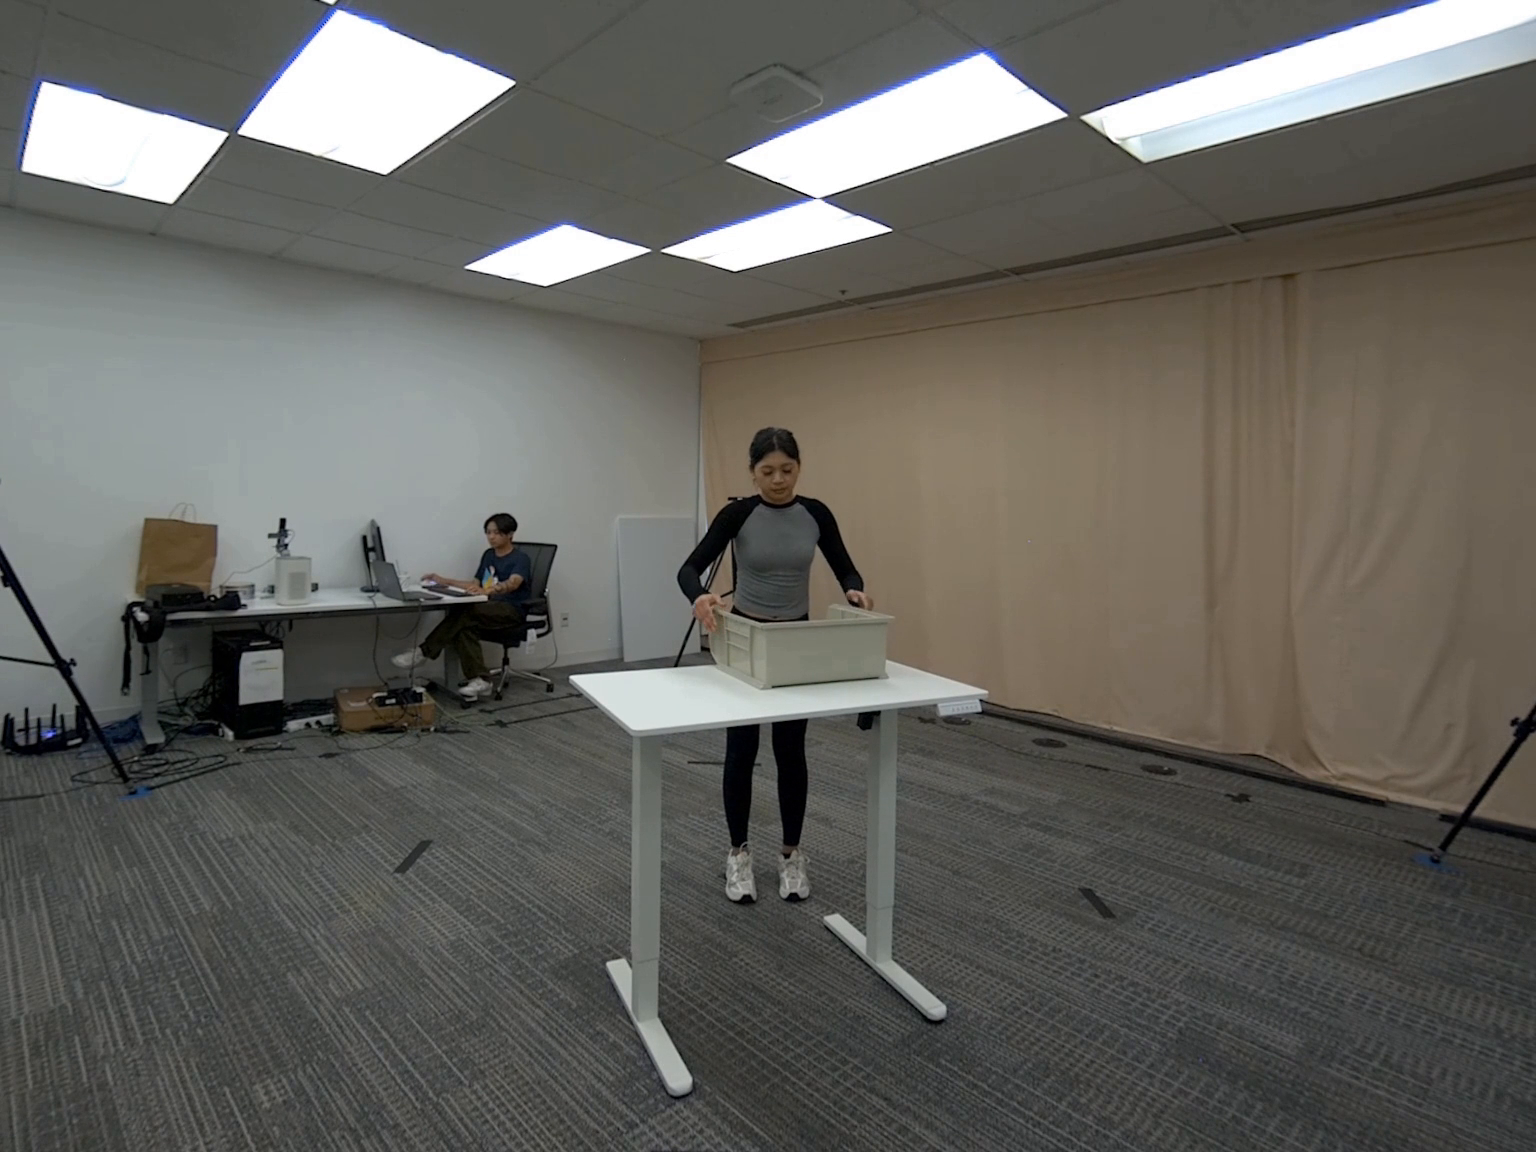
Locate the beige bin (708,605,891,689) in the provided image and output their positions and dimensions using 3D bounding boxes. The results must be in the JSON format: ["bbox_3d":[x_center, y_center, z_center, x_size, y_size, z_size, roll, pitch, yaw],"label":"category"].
[{"bbox_3d":[0.081,0.198,2.490,0.415,0.188,0.385,-1,7,-24],"label":"beige bin"}]
